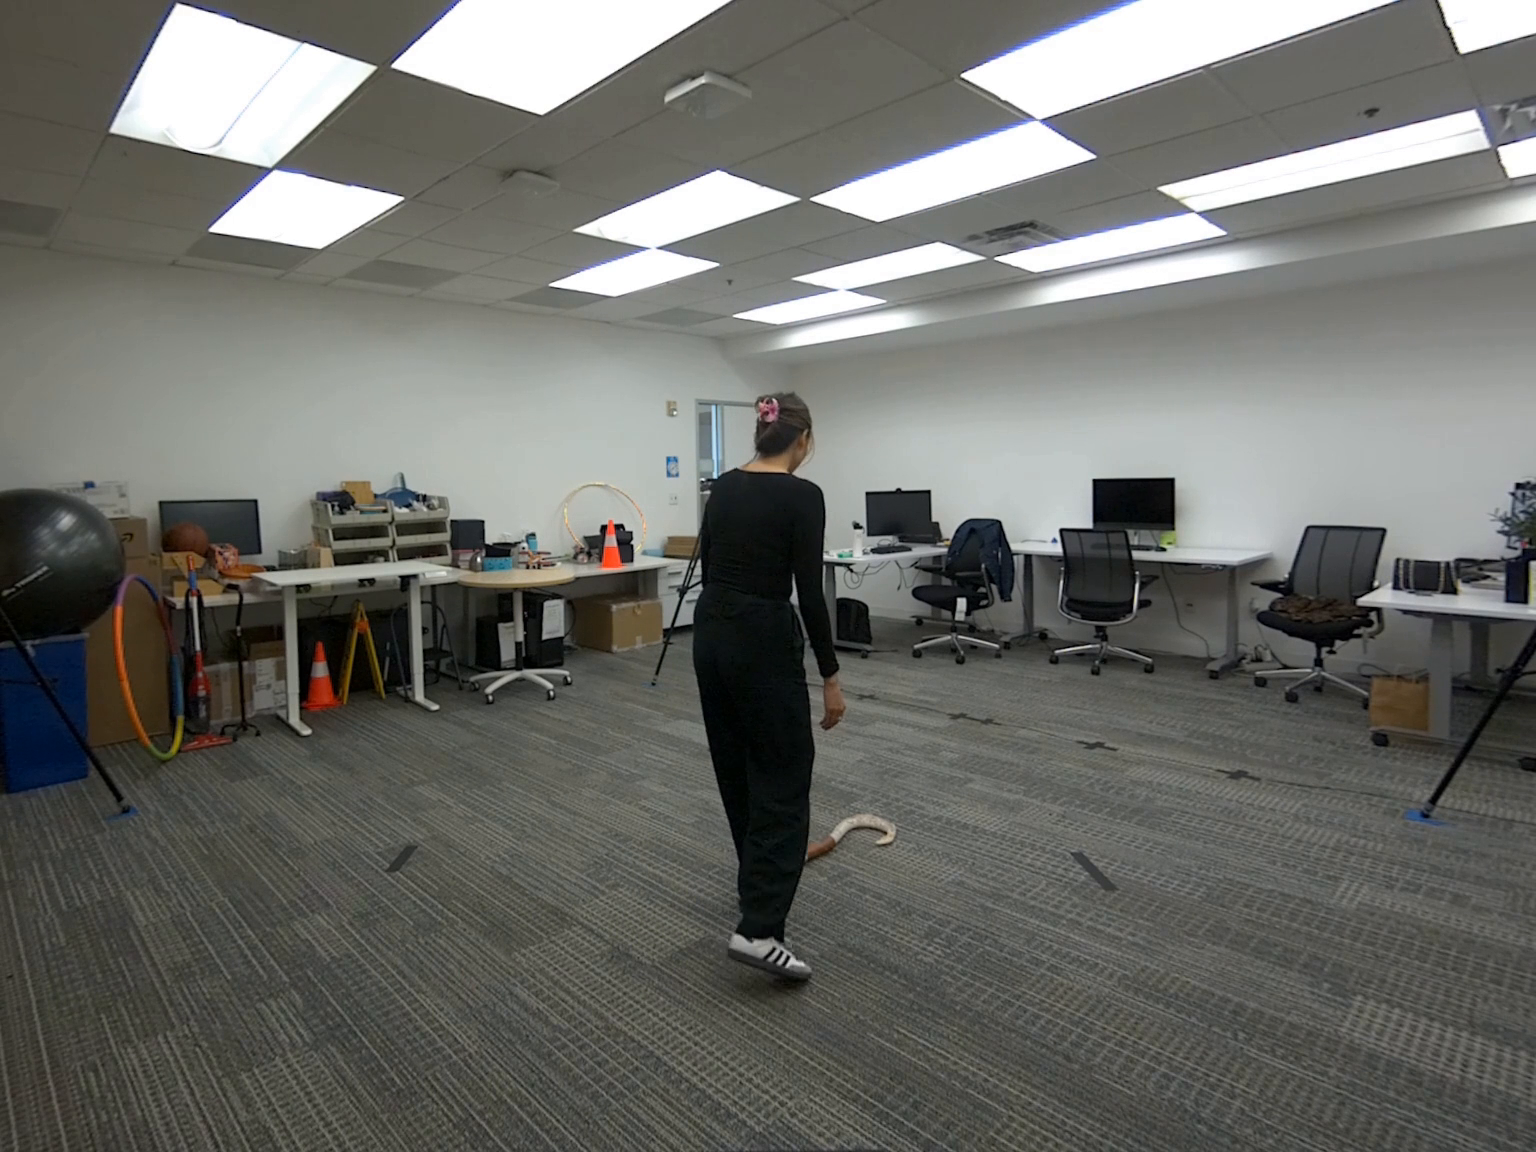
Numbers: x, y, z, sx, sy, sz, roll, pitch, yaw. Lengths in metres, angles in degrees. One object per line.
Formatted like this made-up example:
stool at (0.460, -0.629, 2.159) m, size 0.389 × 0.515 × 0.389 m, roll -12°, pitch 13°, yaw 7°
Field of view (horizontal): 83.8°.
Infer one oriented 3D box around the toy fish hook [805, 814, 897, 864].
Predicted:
toy fish hook at (0.309, 1.003, 3.233) m, size 0.231 × 0.048 × 0.494 m, roll 3°, pitch 8°, yaw 39°
